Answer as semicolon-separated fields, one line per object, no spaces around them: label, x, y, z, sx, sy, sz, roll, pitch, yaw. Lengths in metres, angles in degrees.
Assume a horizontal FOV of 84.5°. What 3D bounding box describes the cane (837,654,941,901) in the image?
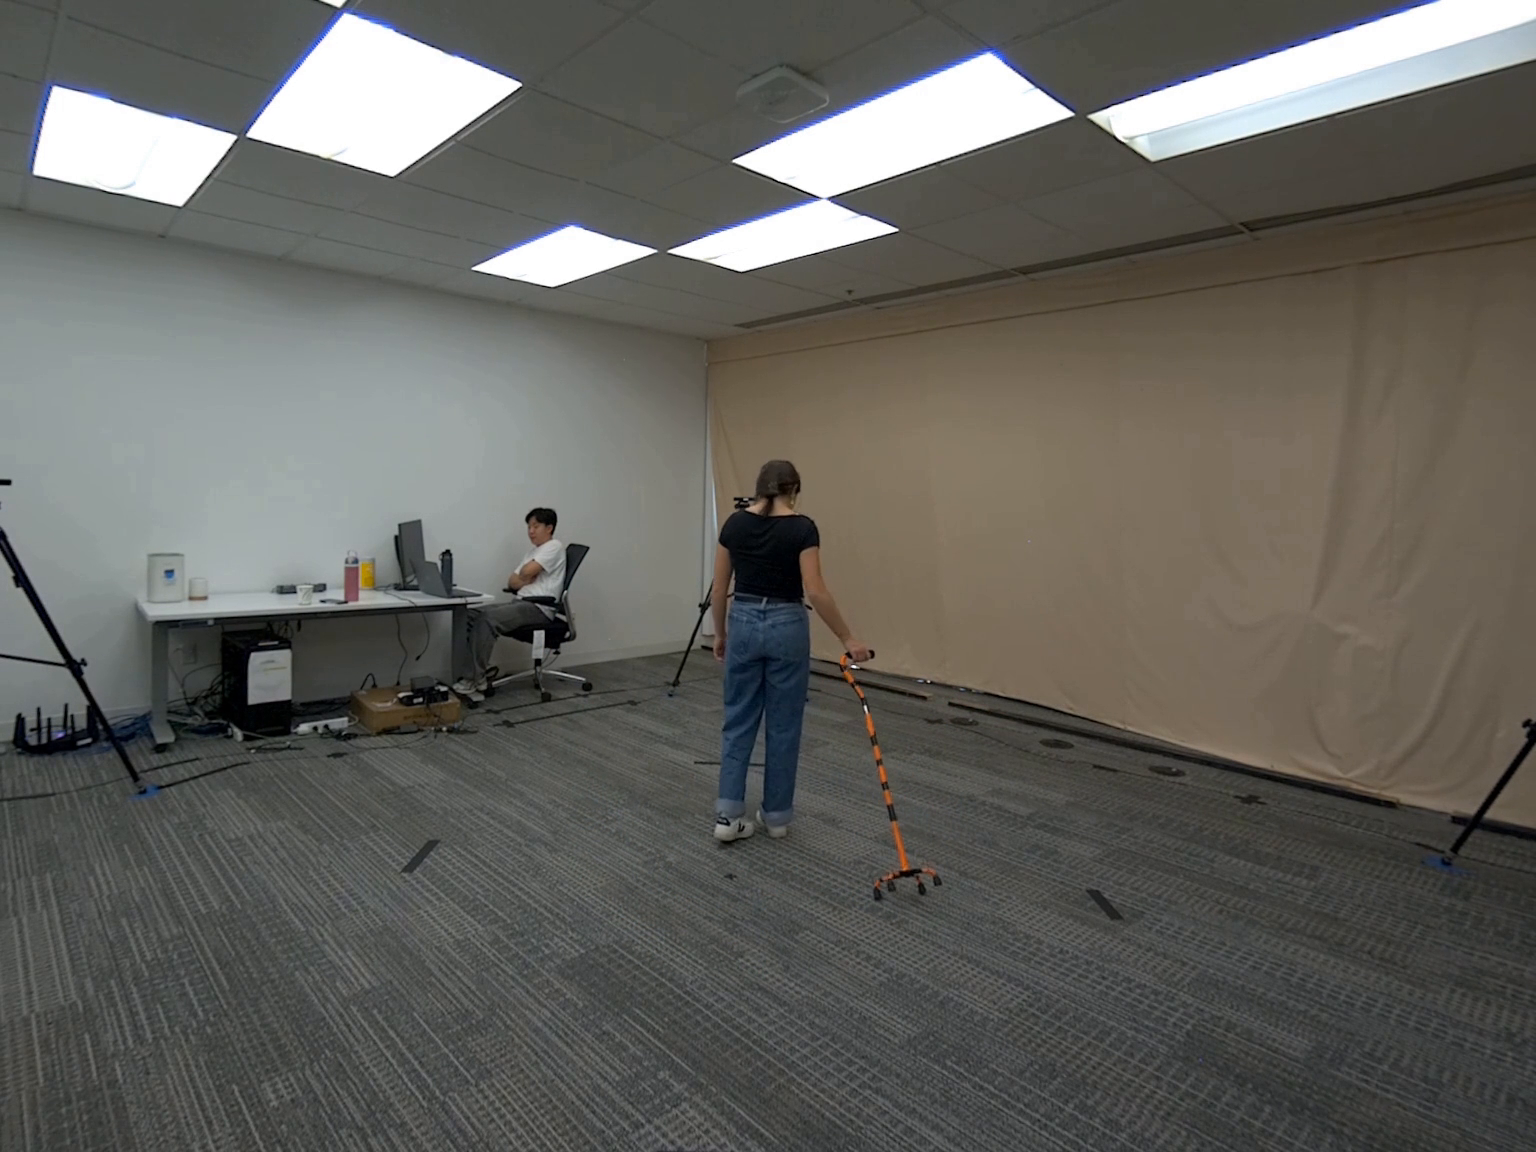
cane;0.406;0.708;3.148;0.204;0.929;0.150;0;-32;-18
